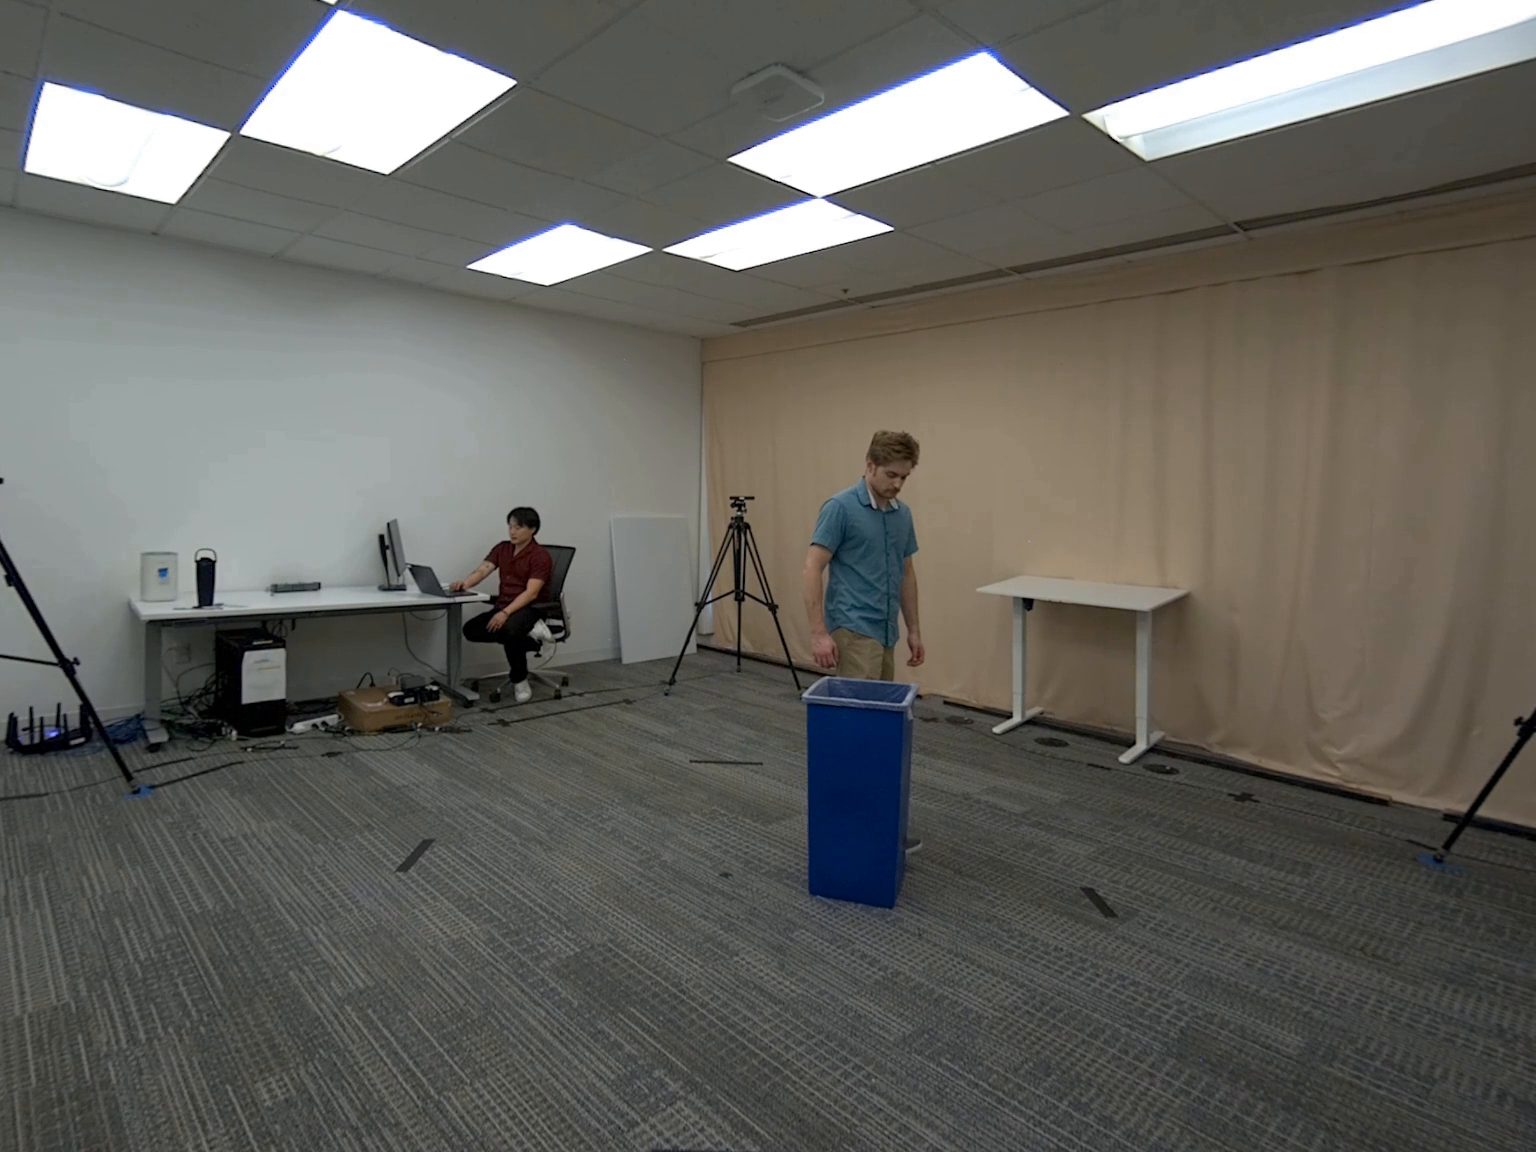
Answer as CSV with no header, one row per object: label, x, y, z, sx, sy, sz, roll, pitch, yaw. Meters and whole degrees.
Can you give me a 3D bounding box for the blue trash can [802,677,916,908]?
blue trash can,0.319,0.764,3.036,0.379,0.712,0.373,3,4,17
